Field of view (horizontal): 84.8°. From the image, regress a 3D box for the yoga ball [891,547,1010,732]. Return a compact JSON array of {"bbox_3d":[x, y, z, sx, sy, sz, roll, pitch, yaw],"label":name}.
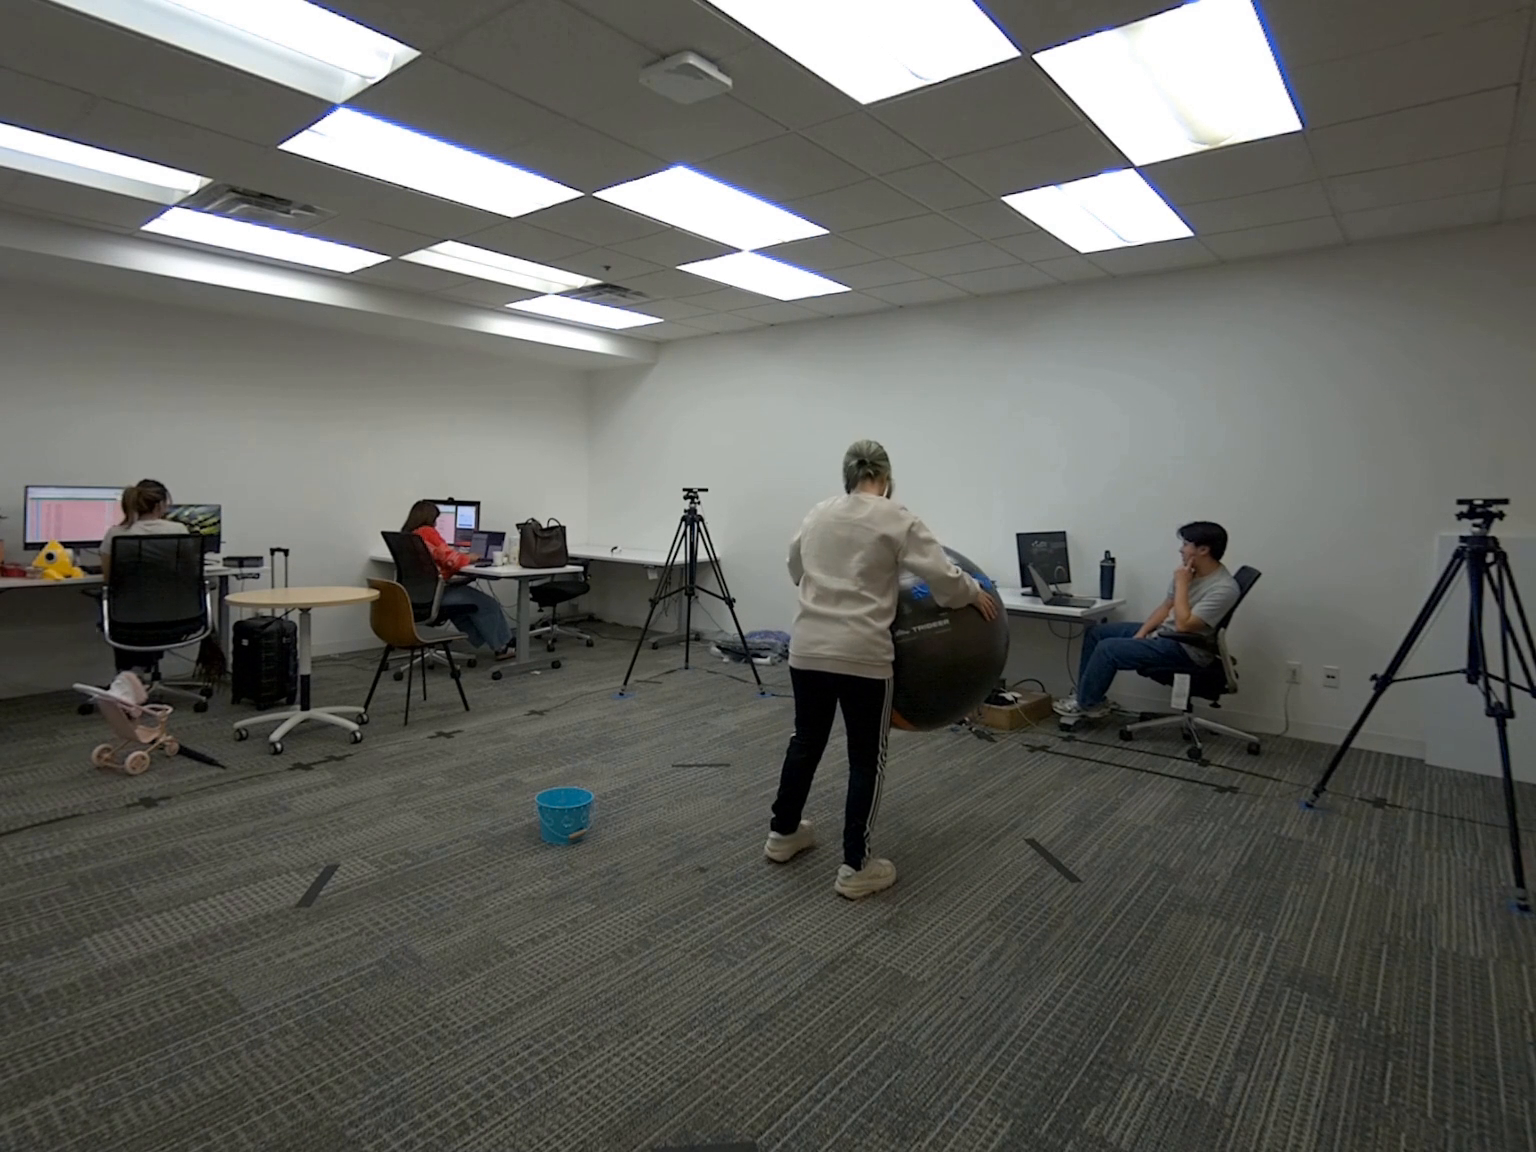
[{"bbox_3d":[0.575,0.233,3.424,0.757,0.755,0.762,1,4,-2],"label":"yoga ball"}]
